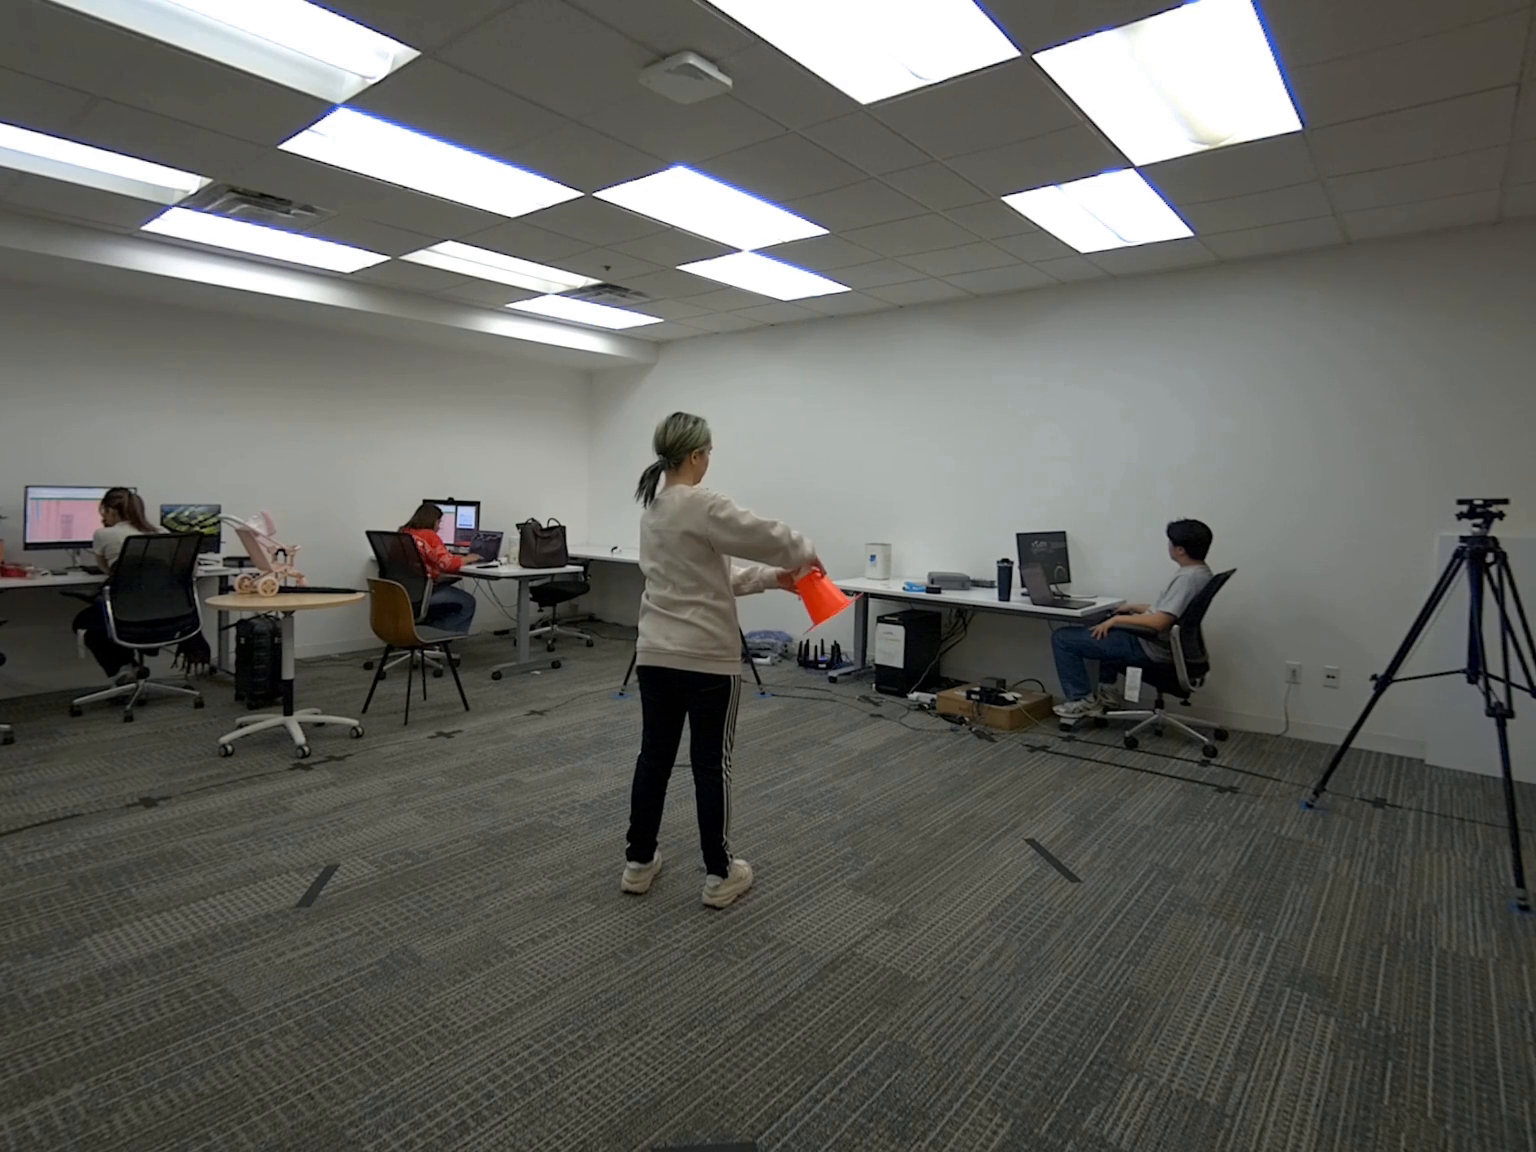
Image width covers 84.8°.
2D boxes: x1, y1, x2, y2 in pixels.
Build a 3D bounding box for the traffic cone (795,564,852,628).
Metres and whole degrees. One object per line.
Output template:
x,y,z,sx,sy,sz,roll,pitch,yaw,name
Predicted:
0.108,-0.018,3.088,0.200,0.387,0.206,-28,-8,-48,traffic cone
